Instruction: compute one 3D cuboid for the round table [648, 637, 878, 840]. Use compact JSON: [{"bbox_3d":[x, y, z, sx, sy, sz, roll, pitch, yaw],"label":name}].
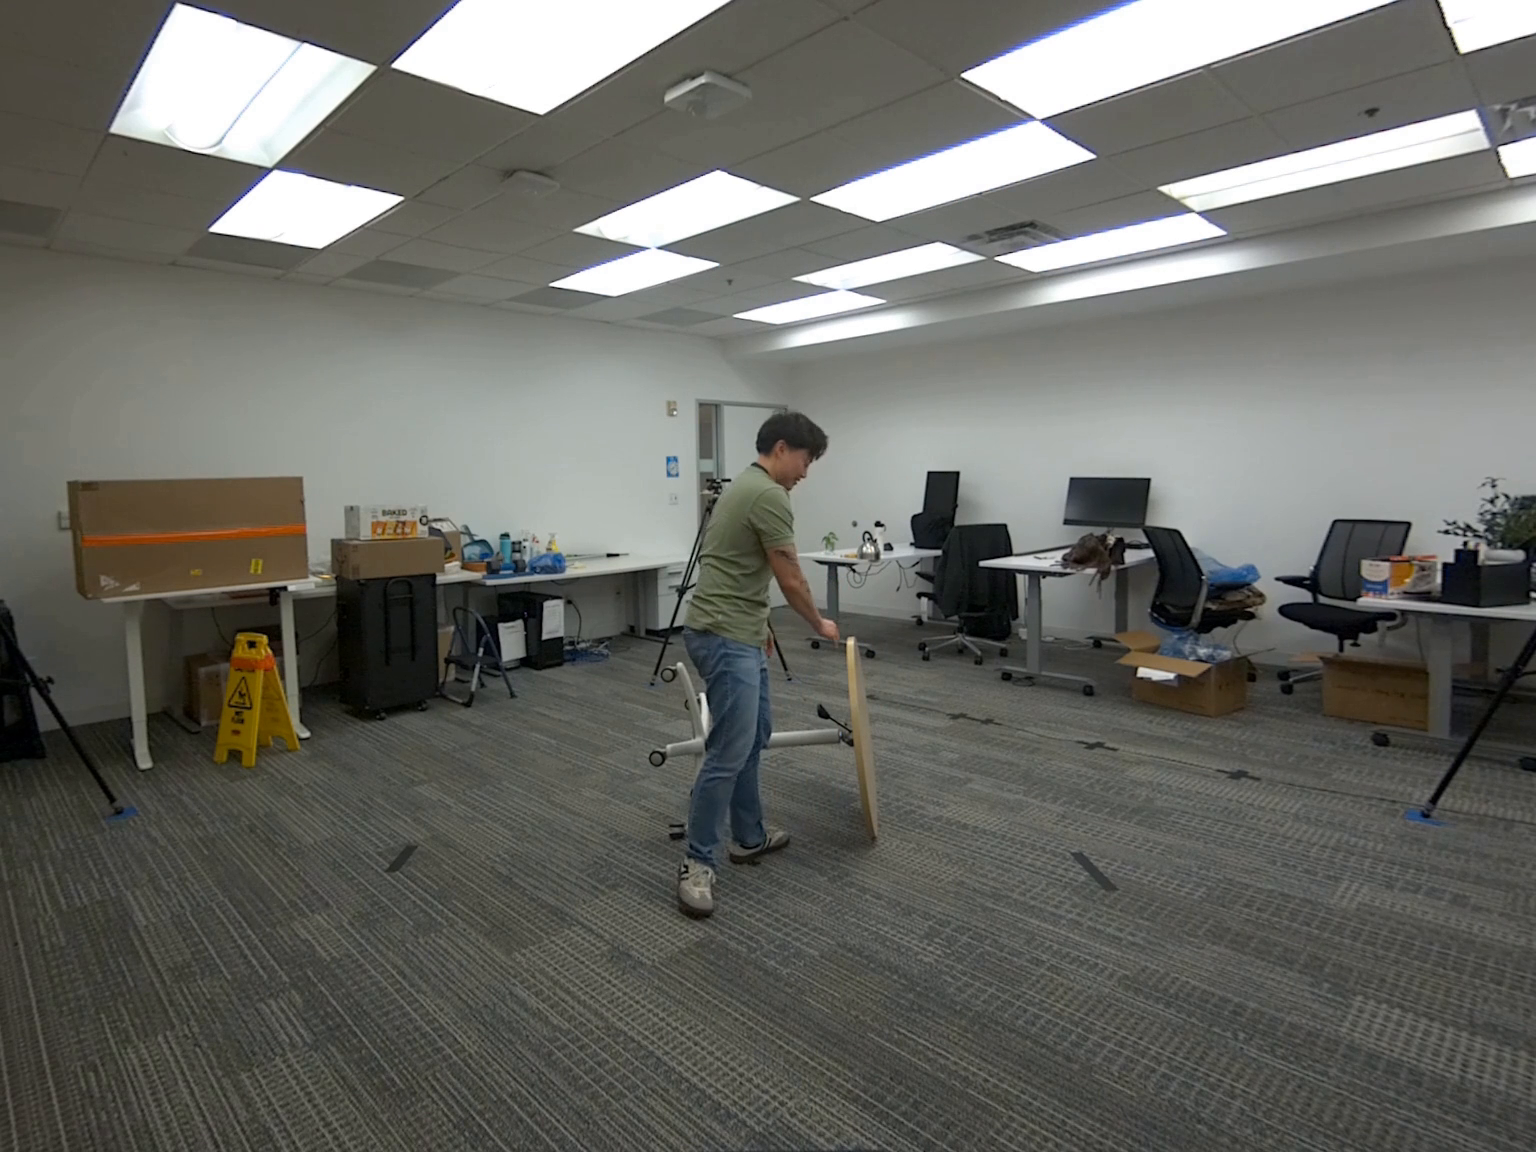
[{"bbox_3d":[-0.003,0.669,3.445,0.801,0.762,0.760,-7,4,9],"label":"round table"}]
